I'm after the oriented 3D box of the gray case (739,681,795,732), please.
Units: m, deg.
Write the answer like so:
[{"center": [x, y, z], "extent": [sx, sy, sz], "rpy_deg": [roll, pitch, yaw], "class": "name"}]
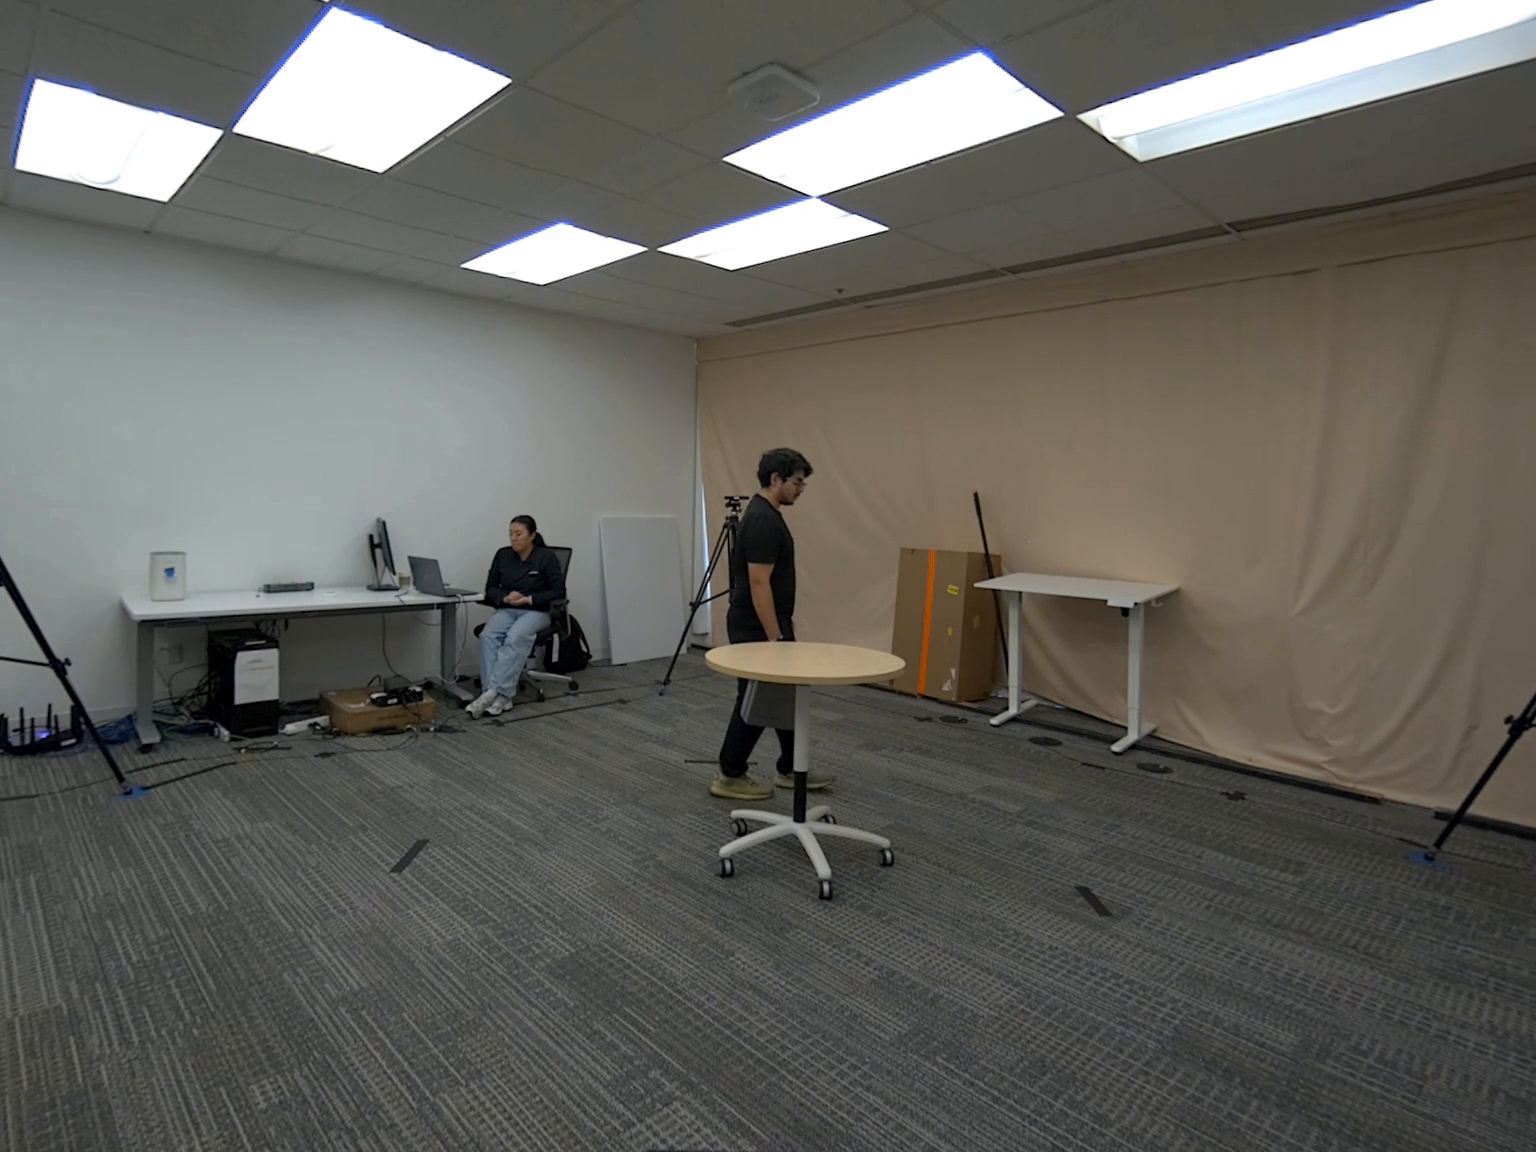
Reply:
[{"center": [0.017, 0.534, 3.717], "extent": [0.252, 0.259, 0.107], "rpy_deg": [11, 10, -21], "class": "gray case"}]
